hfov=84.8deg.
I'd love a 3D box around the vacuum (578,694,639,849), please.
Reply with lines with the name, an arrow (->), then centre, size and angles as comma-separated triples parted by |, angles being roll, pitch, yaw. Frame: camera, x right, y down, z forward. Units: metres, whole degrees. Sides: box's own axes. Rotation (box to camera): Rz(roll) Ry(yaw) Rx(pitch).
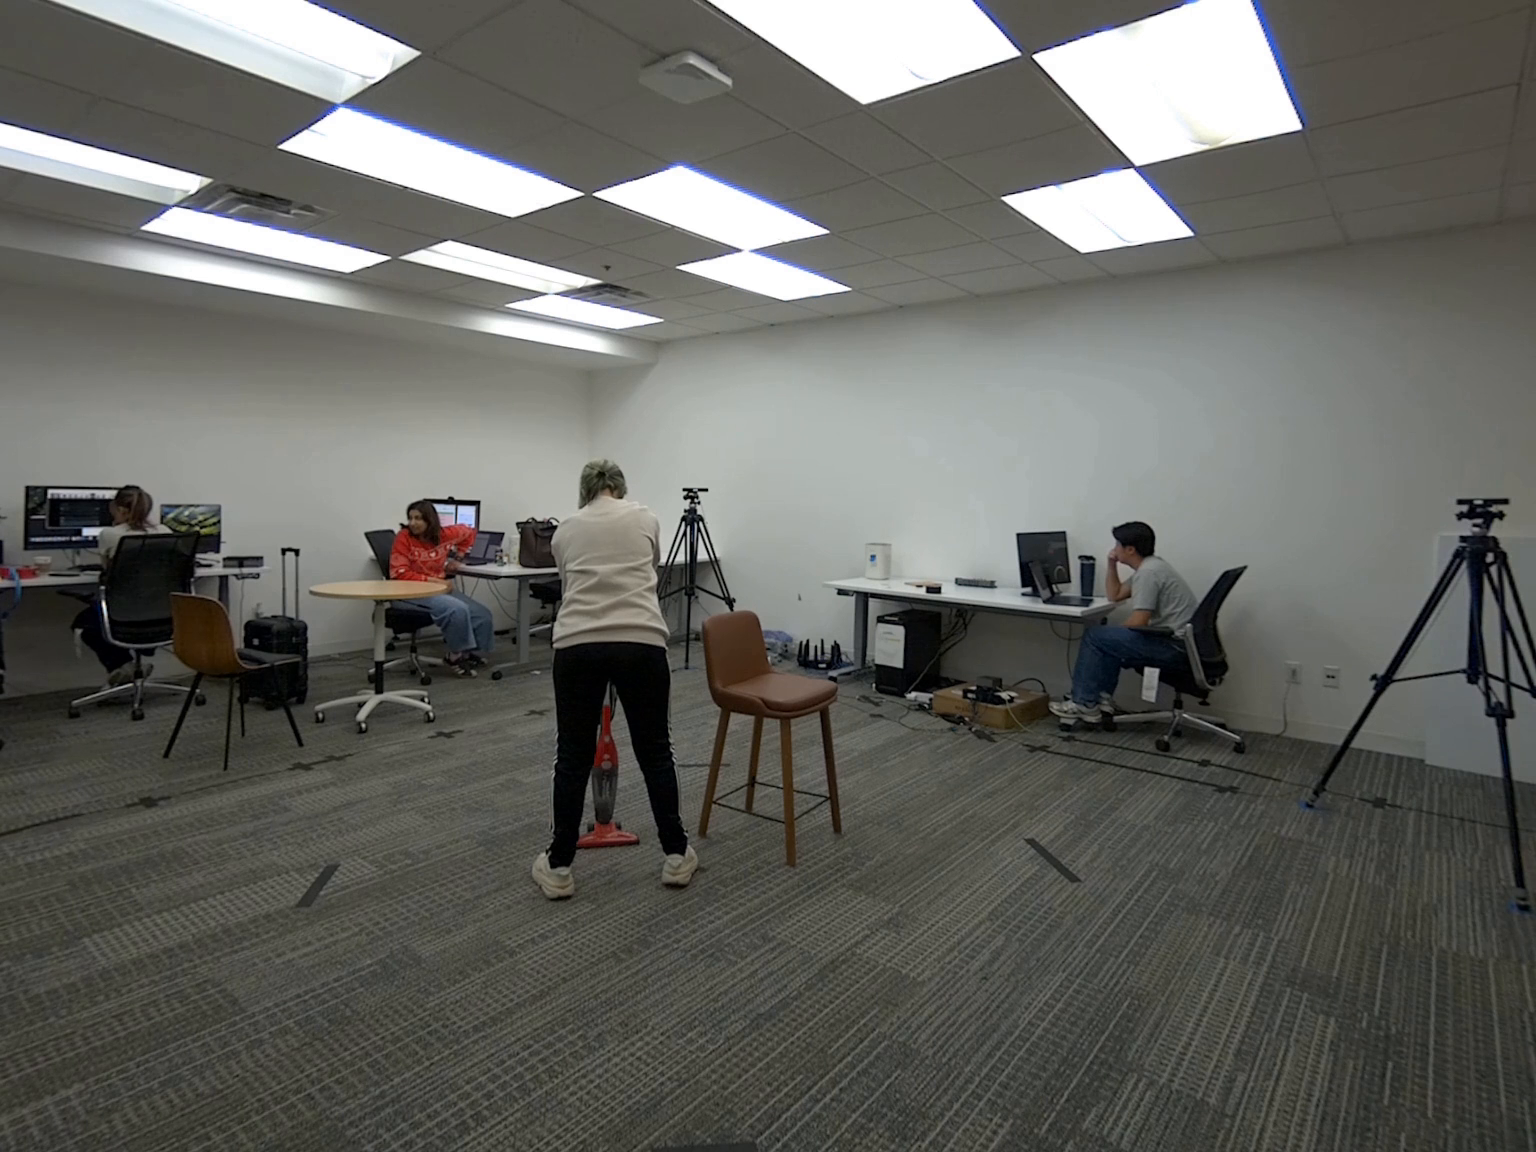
vacuum -> -0.679, 0.536, 3.505 | 0.248, 1.068, 0.144 | 2, -18, -17
